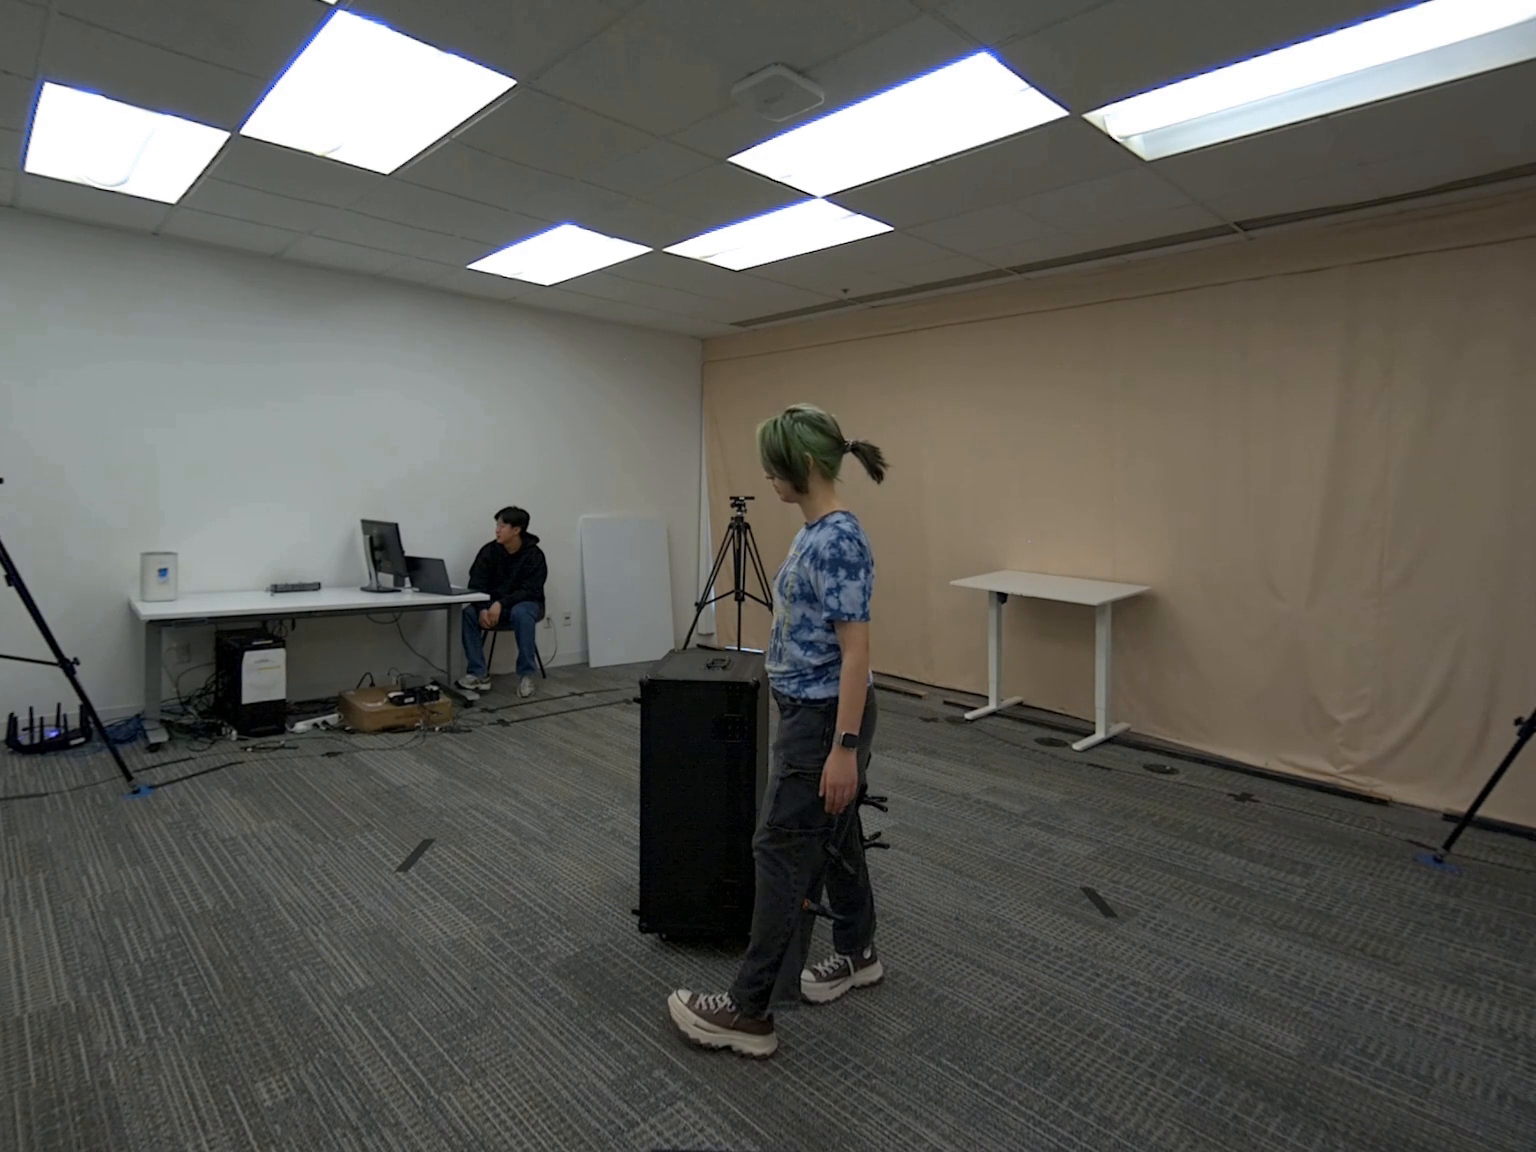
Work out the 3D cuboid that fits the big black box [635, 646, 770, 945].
[{"bbox_3d":[-0.205,0.713,2.739,0.399,0.859,0.519,0,3,7],"label":"big black box"}]
